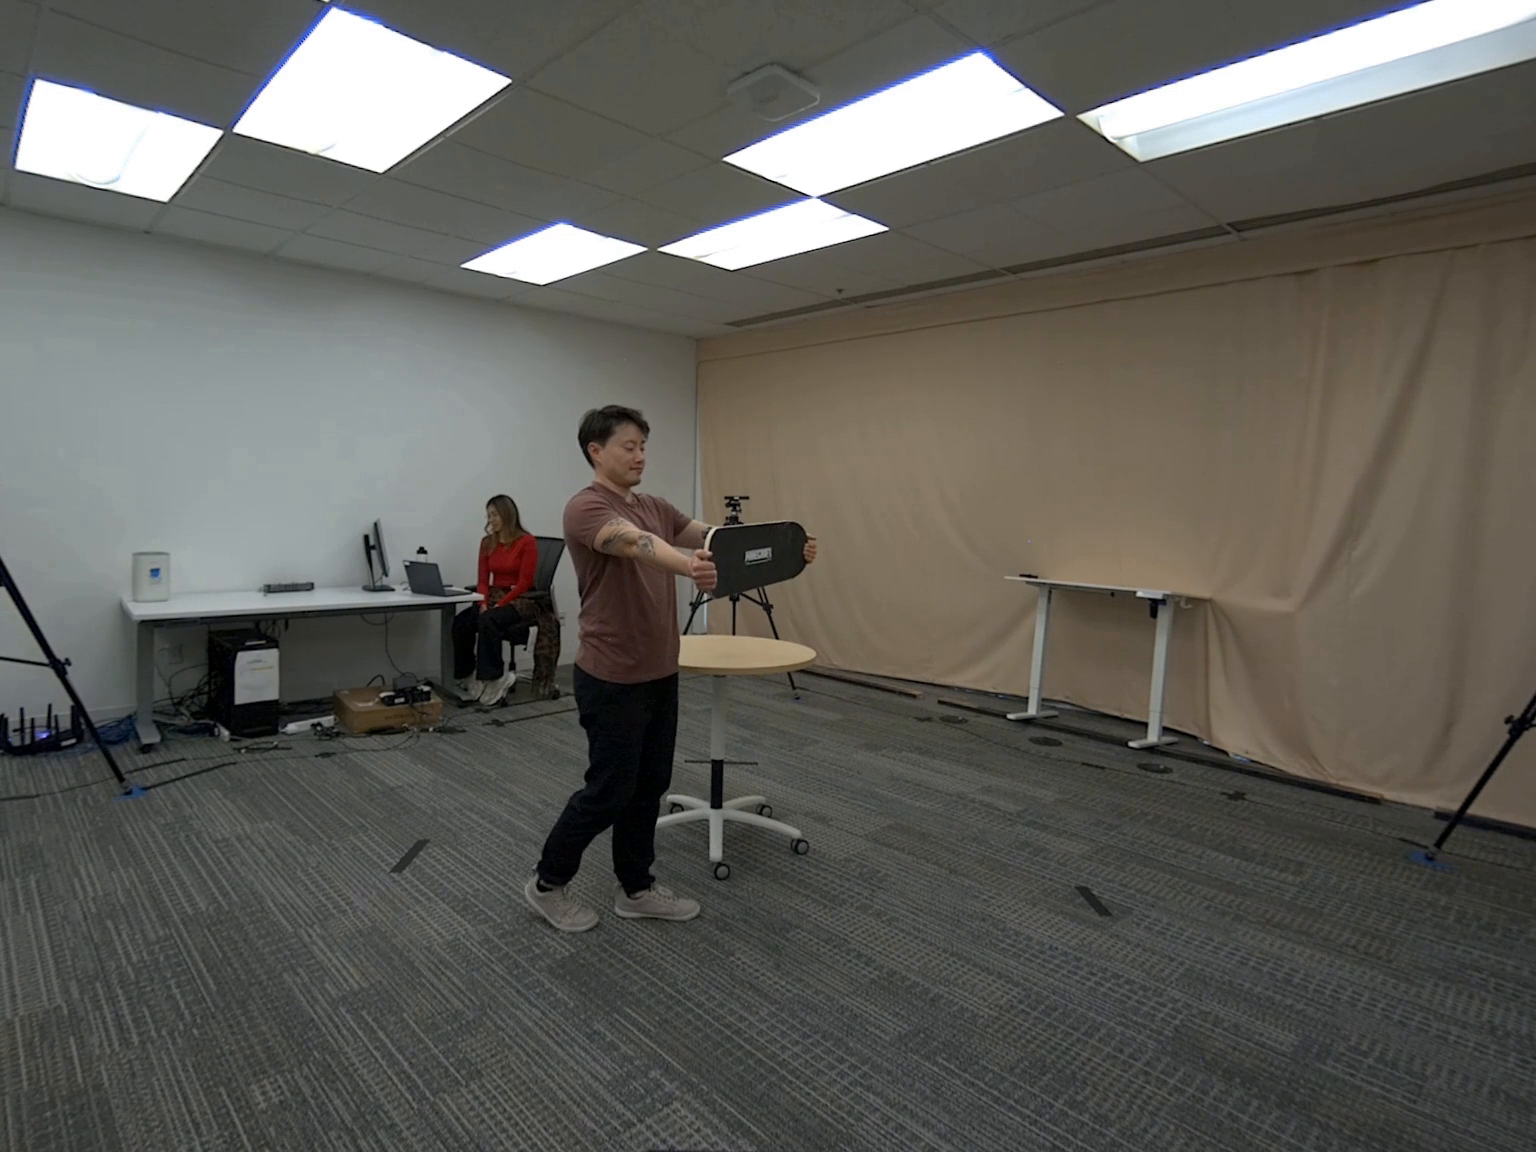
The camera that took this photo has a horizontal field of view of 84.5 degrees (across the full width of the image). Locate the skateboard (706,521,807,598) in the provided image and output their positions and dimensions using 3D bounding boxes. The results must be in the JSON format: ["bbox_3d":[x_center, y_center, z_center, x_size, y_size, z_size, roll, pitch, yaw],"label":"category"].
[{"bbox_3d":[-0.067,-0.057,2.523,0.112,0.193,0.774,-1,5,22],"label":"skateboard"}]
